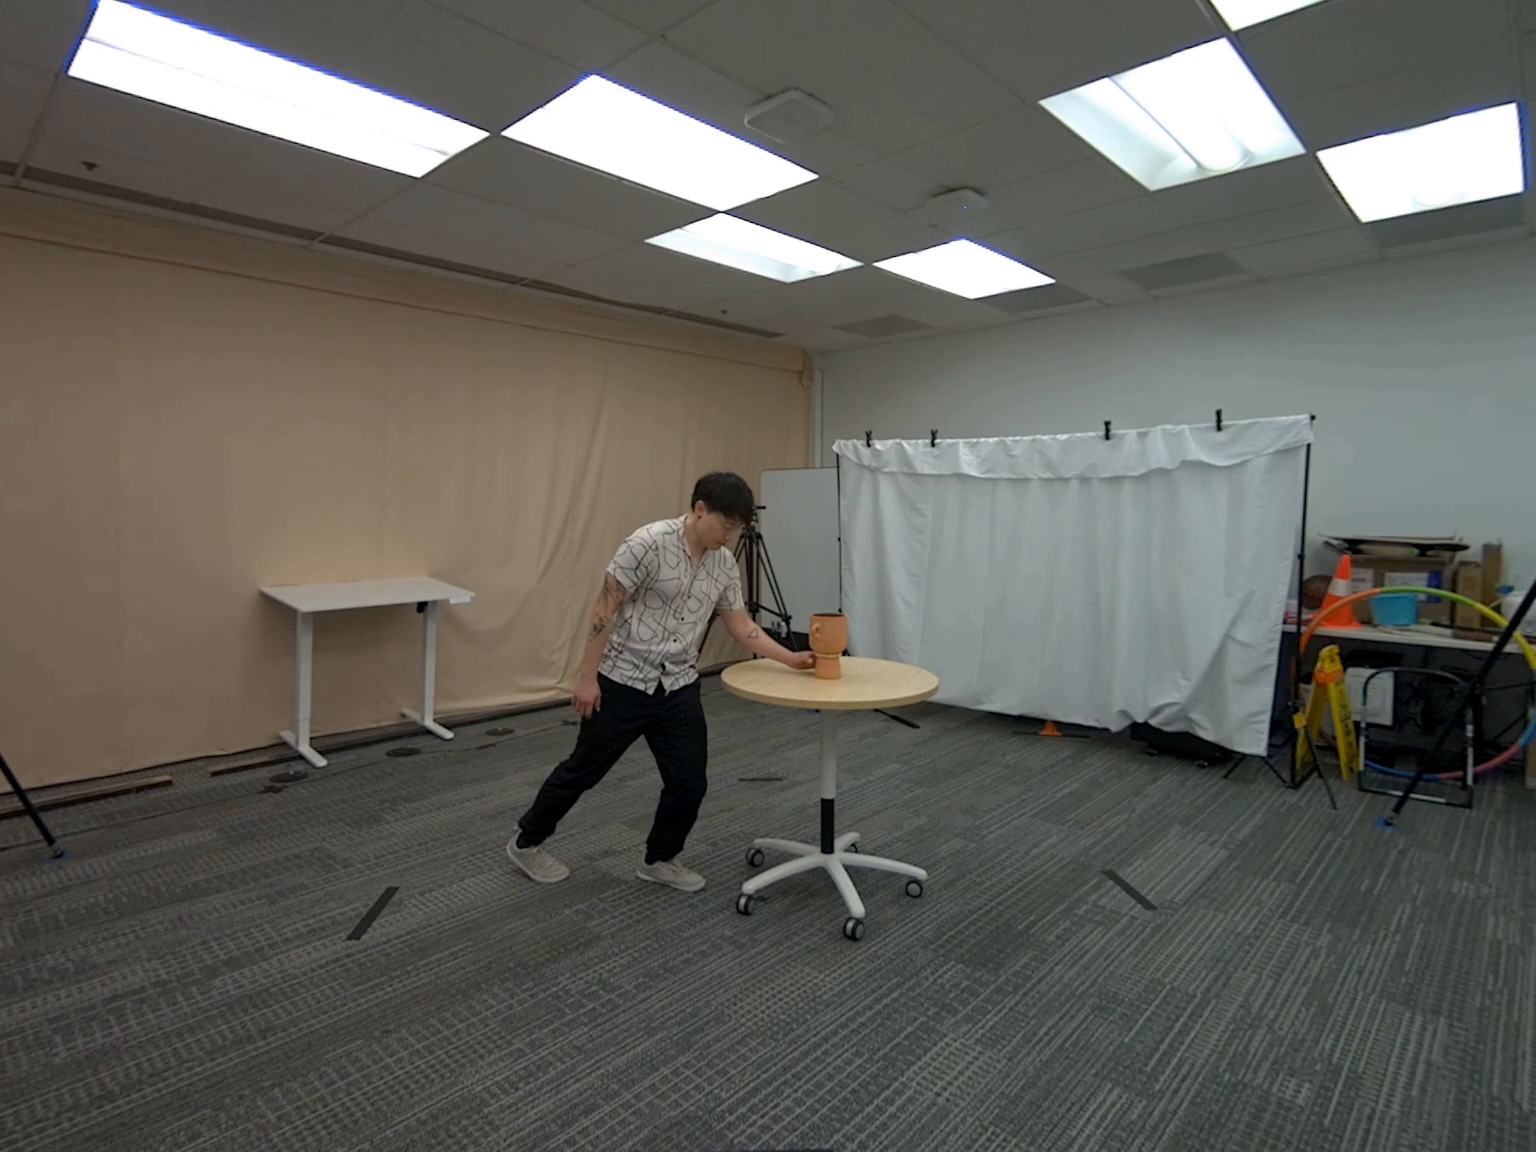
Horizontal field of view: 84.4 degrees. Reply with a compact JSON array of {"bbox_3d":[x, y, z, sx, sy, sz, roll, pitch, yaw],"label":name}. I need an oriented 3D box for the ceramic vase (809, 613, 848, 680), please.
[{"bbox_3d":[0.217,0.250,2.970,0.157,0.219,0.136,0,3,-11],"label":"ceramic vase"}]
